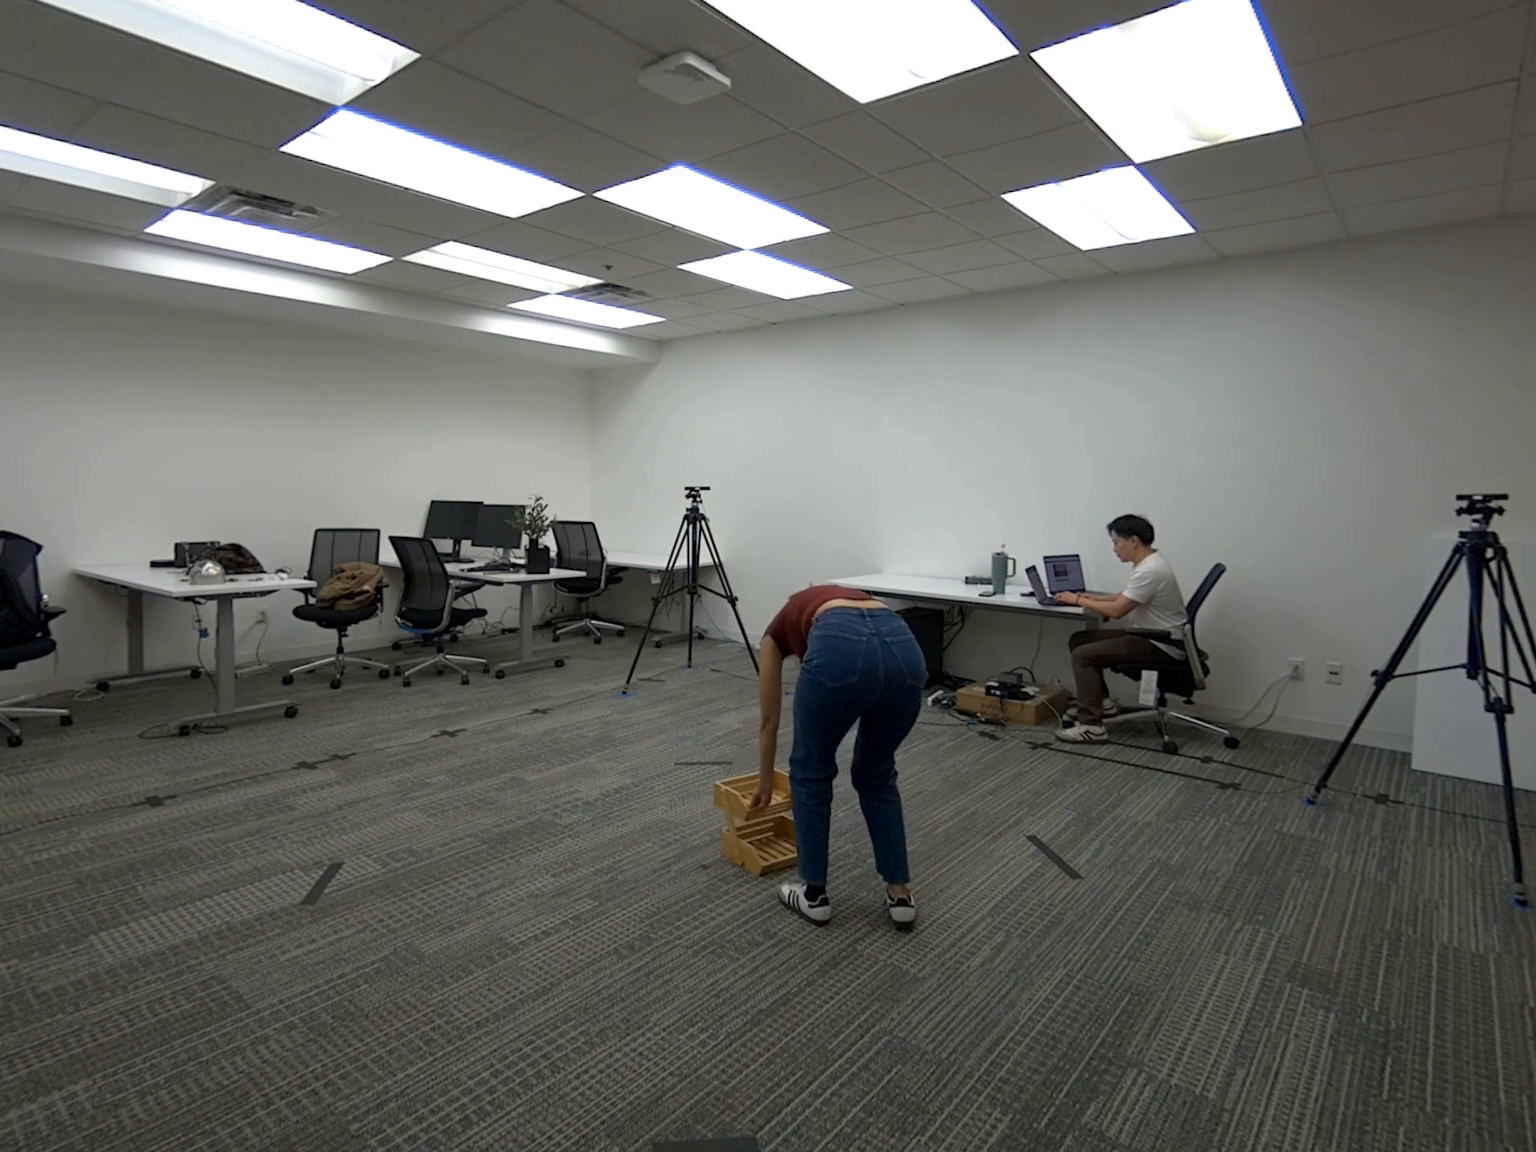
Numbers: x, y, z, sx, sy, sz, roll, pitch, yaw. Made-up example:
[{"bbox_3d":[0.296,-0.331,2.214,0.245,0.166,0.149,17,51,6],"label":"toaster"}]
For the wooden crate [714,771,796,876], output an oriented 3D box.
[{"bbox_3d":[-0.007,0.921,3.233,0.315,0.272,0.312,-2,5,-38],"label":"wooden crate"}]
